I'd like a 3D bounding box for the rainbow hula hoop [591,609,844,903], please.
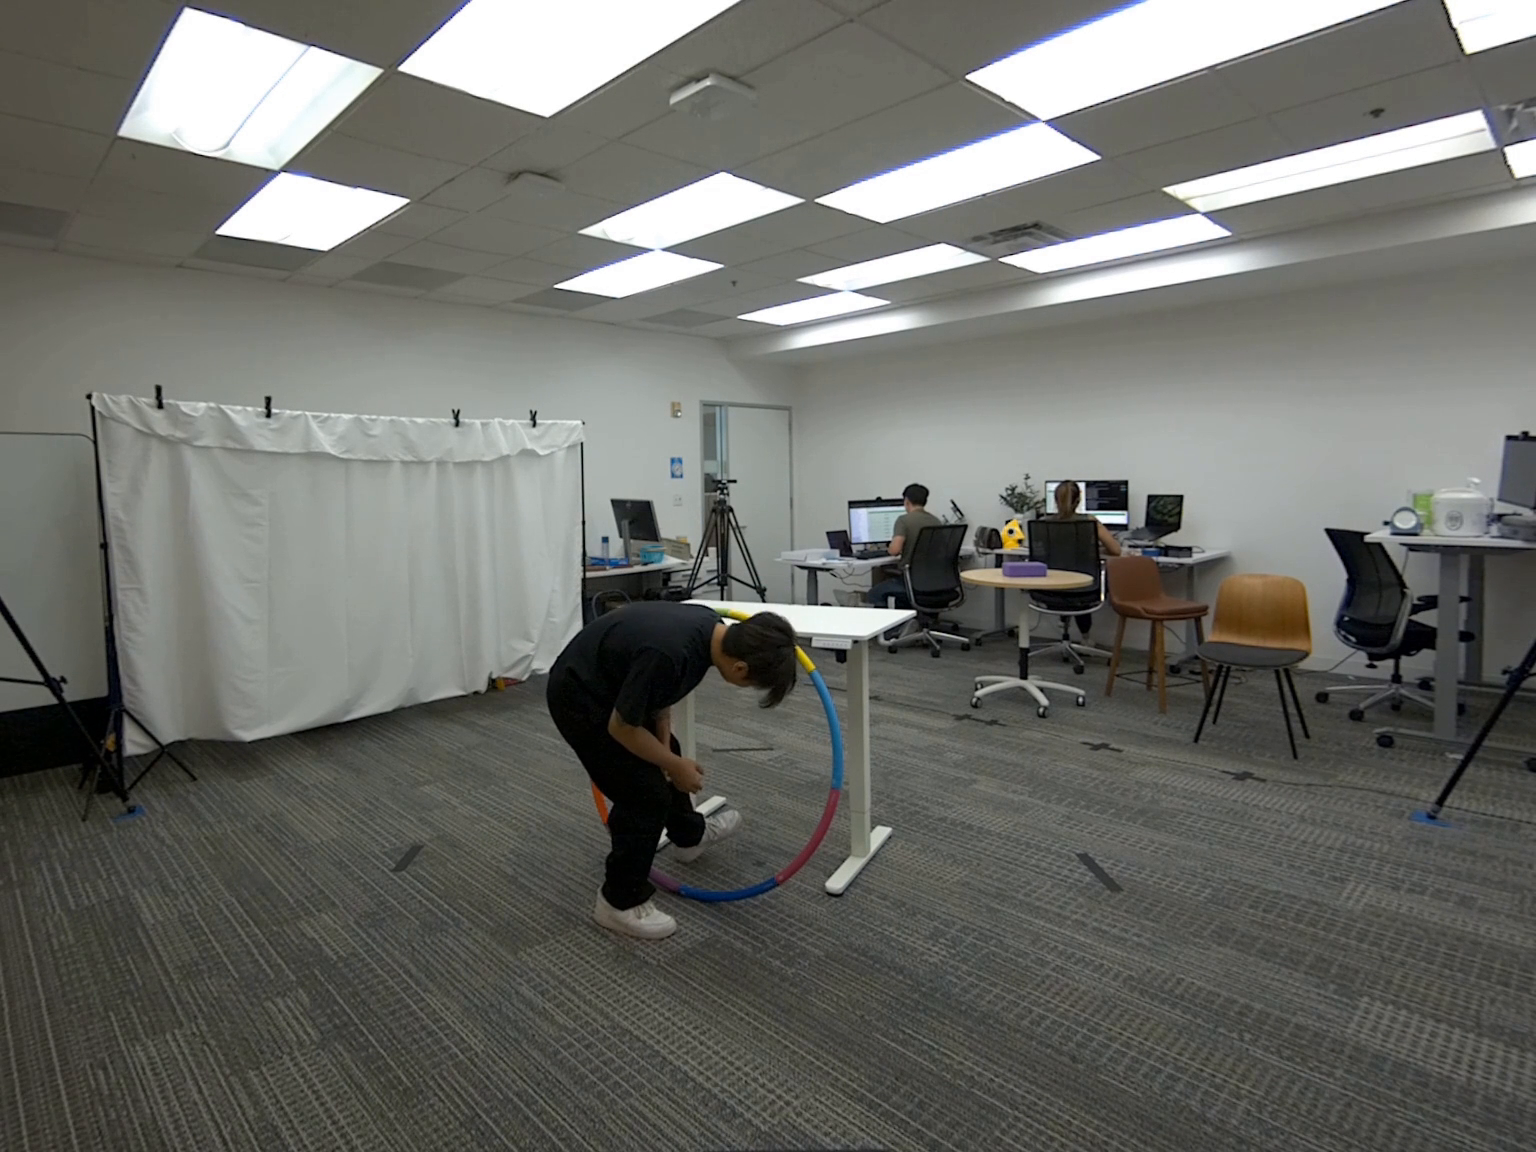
[{"bbox_3d":[-0.213,0.597,2.921,1.003,0.984,0.034,1,-8,28],"label":"rainbow hula hoop"}]
